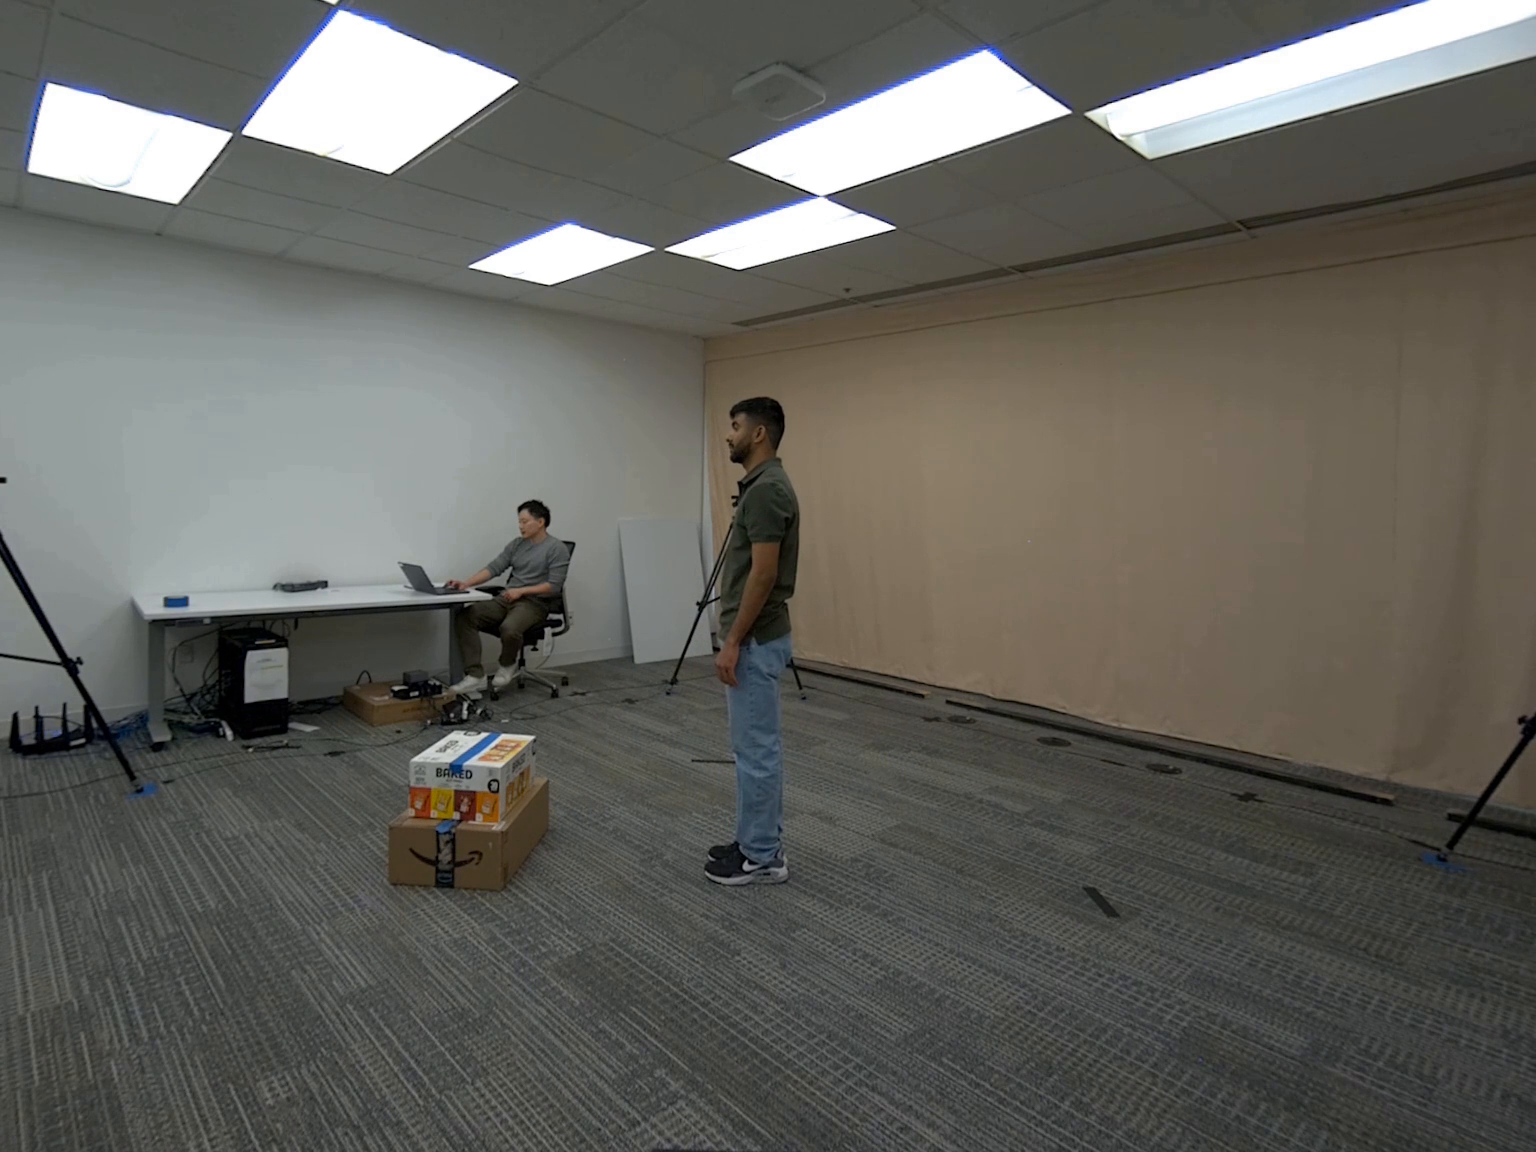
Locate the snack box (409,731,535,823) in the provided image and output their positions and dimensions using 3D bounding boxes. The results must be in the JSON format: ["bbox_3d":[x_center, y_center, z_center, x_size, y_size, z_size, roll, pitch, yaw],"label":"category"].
[{"bbox_3d":[-1.111,0.749,3.207,0.341,0.205,0.405,3,5,3],"label":"snack box"}]
